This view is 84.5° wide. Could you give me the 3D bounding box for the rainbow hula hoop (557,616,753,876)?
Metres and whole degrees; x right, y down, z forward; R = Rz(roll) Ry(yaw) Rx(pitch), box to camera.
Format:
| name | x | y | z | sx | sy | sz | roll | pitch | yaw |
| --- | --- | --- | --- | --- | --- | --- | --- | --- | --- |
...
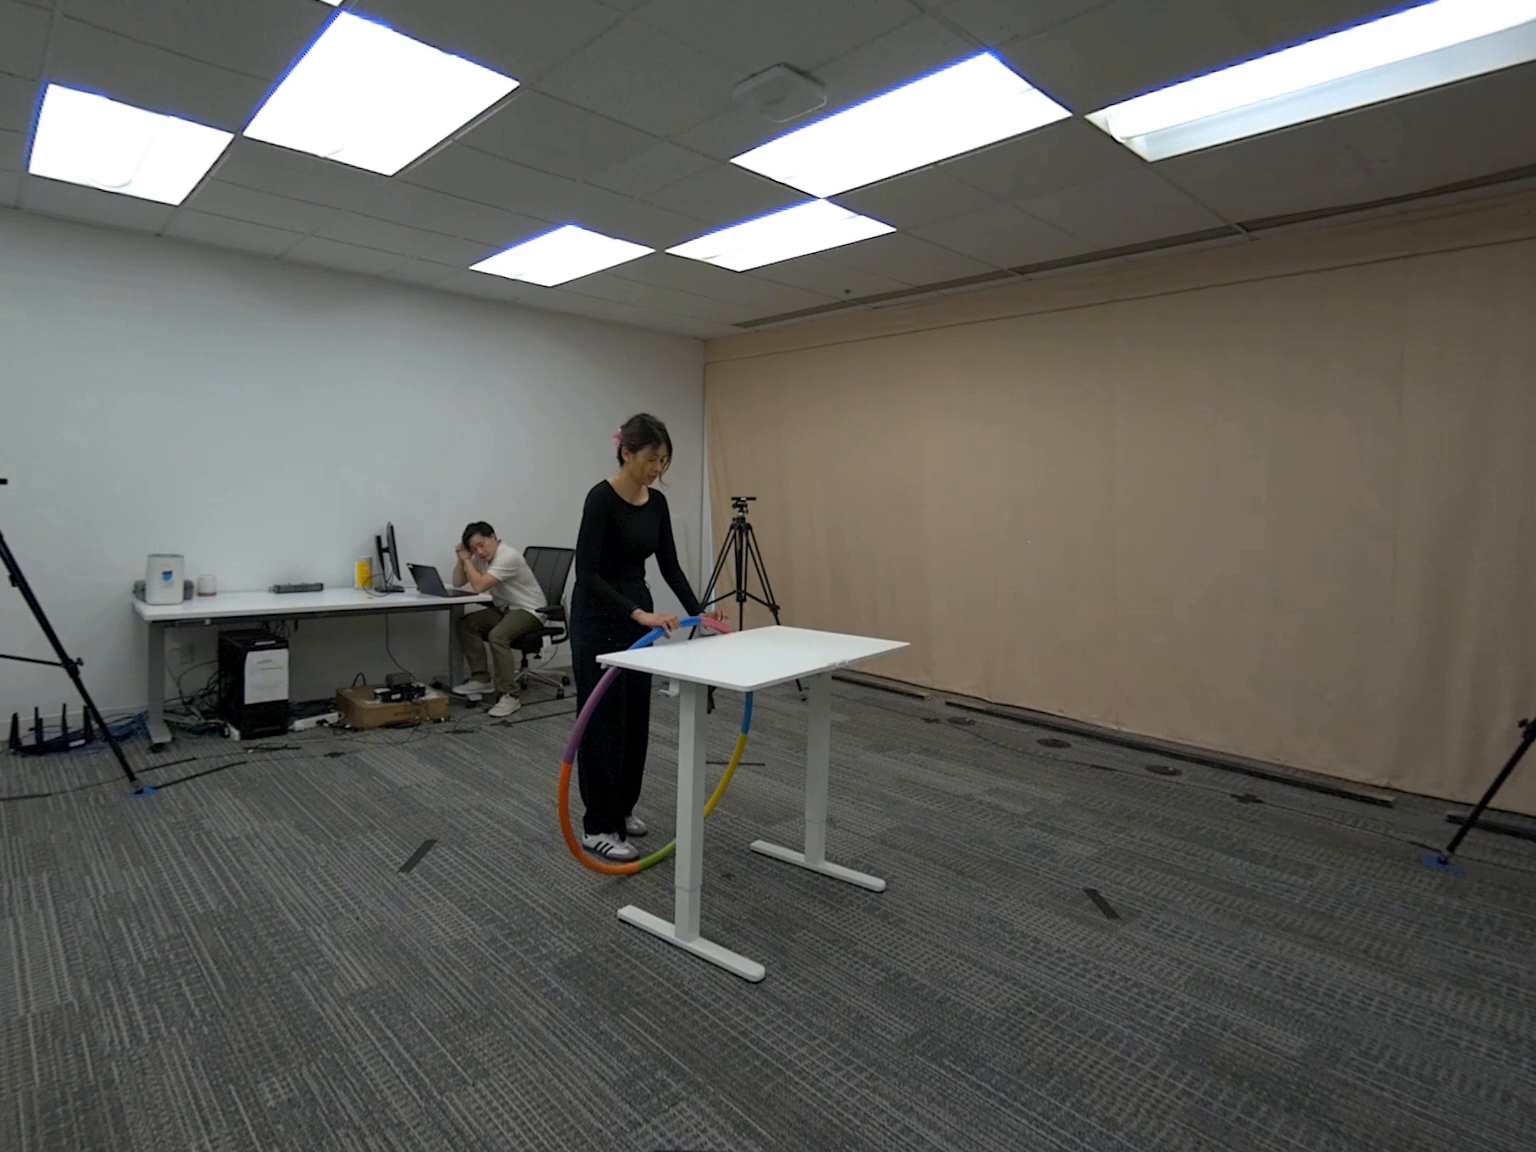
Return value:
| name | x | y | z | sx | sy | sz | roll | pitch | yaw |
| --- | --- | --- | --- | --- | --- | --- | --- | --- | --- |
| rainbow hula hoop | -0.380 | 0.617 | 3.089 | 0.036 | 0.972 | 0.957 | 18 | 13 | 35 |
